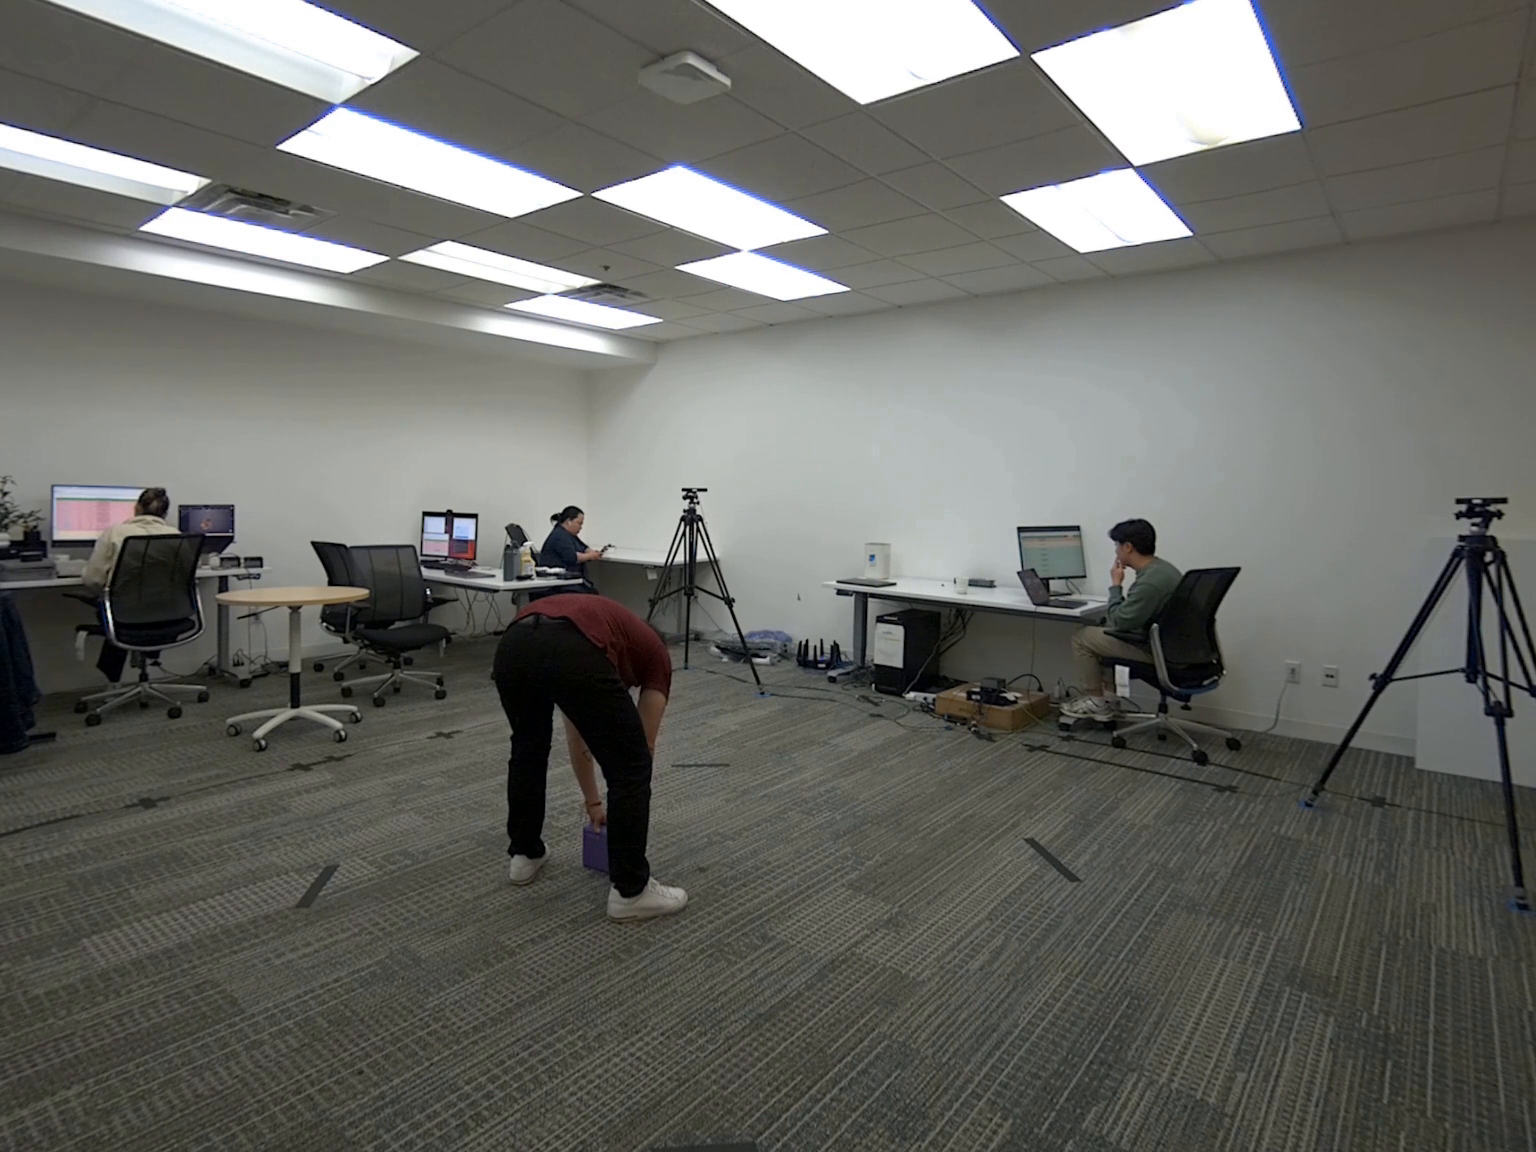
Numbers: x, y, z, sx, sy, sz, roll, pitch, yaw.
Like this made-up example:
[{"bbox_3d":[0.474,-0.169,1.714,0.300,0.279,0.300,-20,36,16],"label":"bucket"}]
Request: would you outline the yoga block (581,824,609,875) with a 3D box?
[{"bbox_3d":[-0.580,0.996,3.081,0.236,0.148,0.075,3,8,28],"label":"yoga block"}]
